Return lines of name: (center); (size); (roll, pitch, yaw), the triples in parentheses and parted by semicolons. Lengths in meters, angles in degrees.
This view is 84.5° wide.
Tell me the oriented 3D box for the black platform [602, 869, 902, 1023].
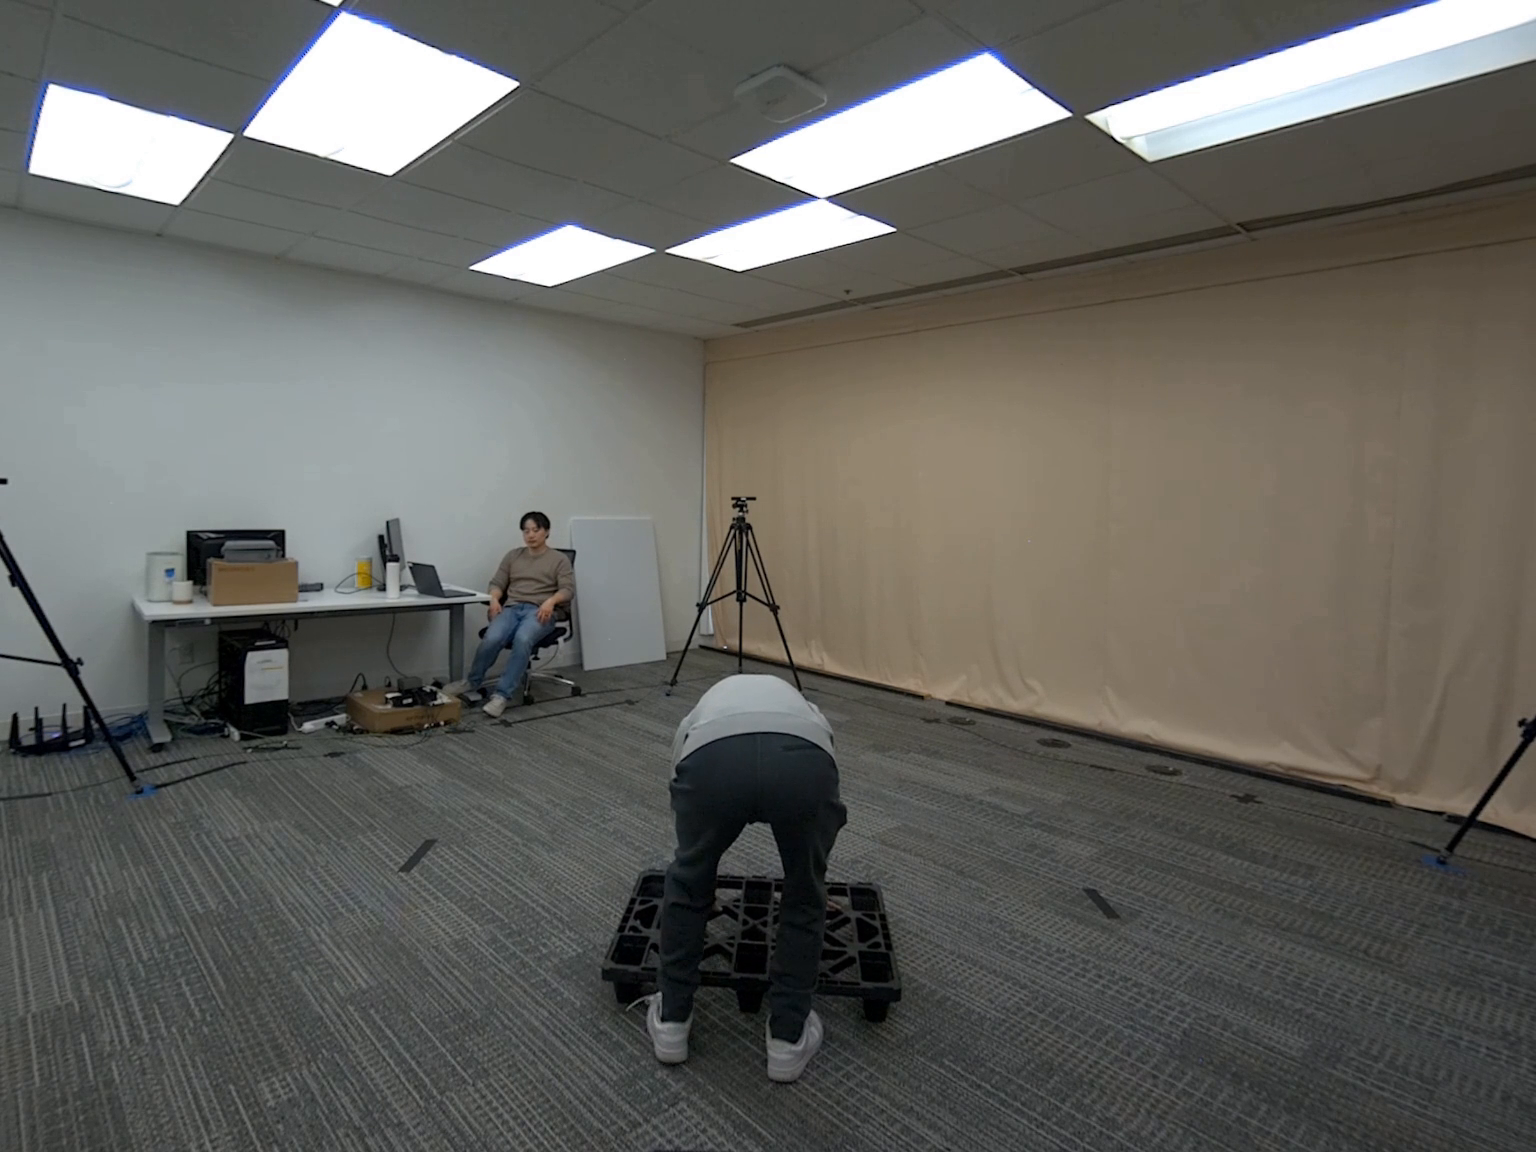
black platform: (-0.044, 1.096, 2.508); (0.809, 0.143, 0.605); (1, 6, 4)
